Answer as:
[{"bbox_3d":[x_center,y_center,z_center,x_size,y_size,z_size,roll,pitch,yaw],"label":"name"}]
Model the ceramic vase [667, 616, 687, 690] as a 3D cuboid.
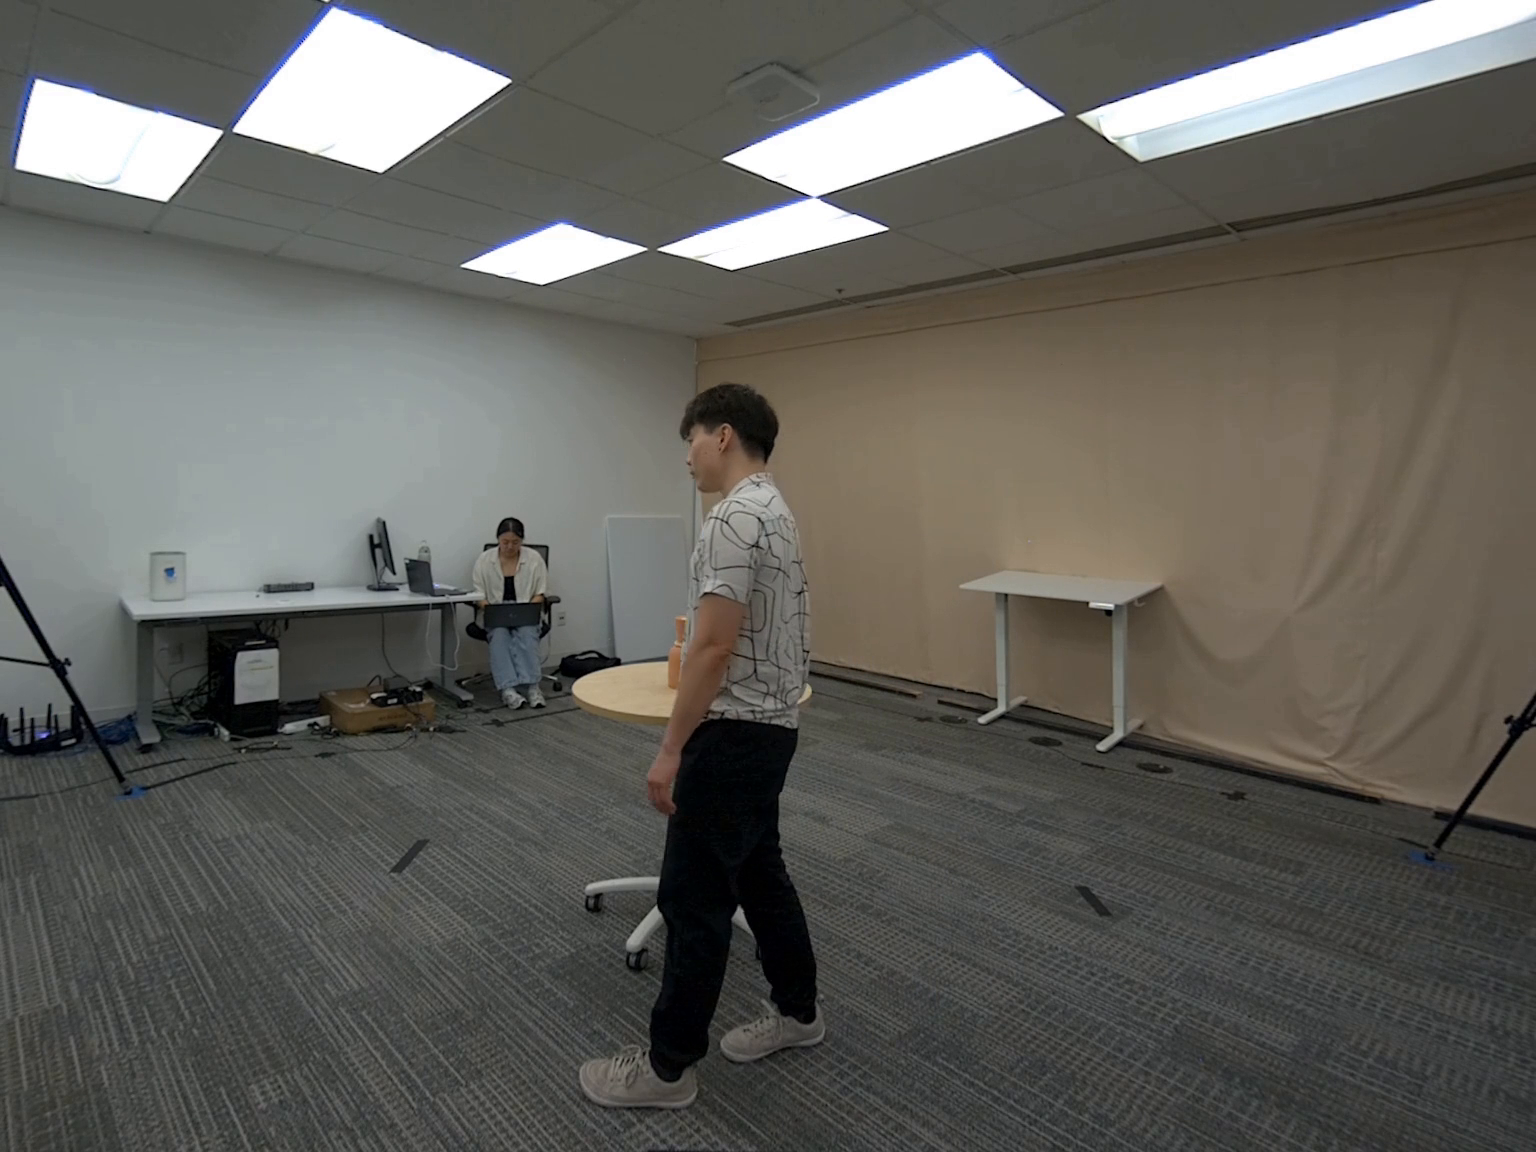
[{"bbox_3d":[-0.260,0.249,2.698,0.163,0.219,0.132,5,6,37],"label":"ceramic vase"}]
